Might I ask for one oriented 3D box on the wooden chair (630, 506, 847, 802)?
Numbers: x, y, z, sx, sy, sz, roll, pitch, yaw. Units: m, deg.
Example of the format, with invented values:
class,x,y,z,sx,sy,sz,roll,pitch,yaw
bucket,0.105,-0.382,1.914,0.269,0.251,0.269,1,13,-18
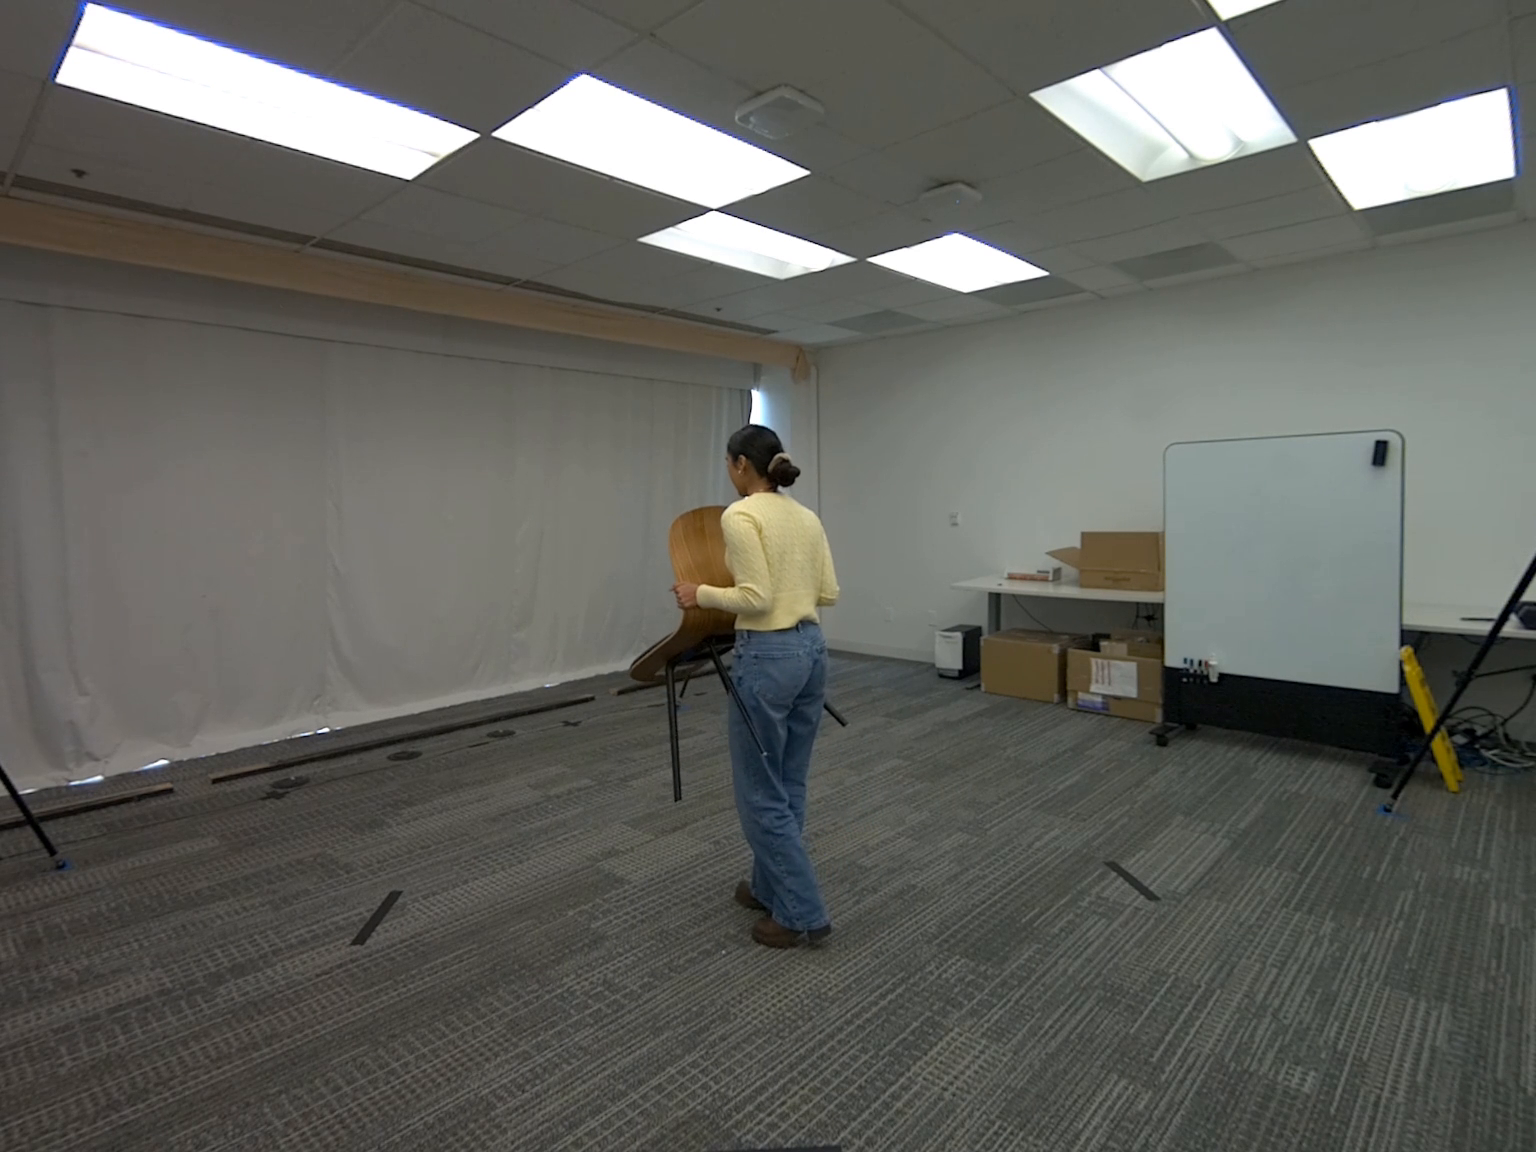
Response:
class,x,y,z,sx,sy,sz,roll,pitch,yaw
wooden chair,-0.194,0.261,2.956,0.464,0.890,0.531,-5,-22,-48
